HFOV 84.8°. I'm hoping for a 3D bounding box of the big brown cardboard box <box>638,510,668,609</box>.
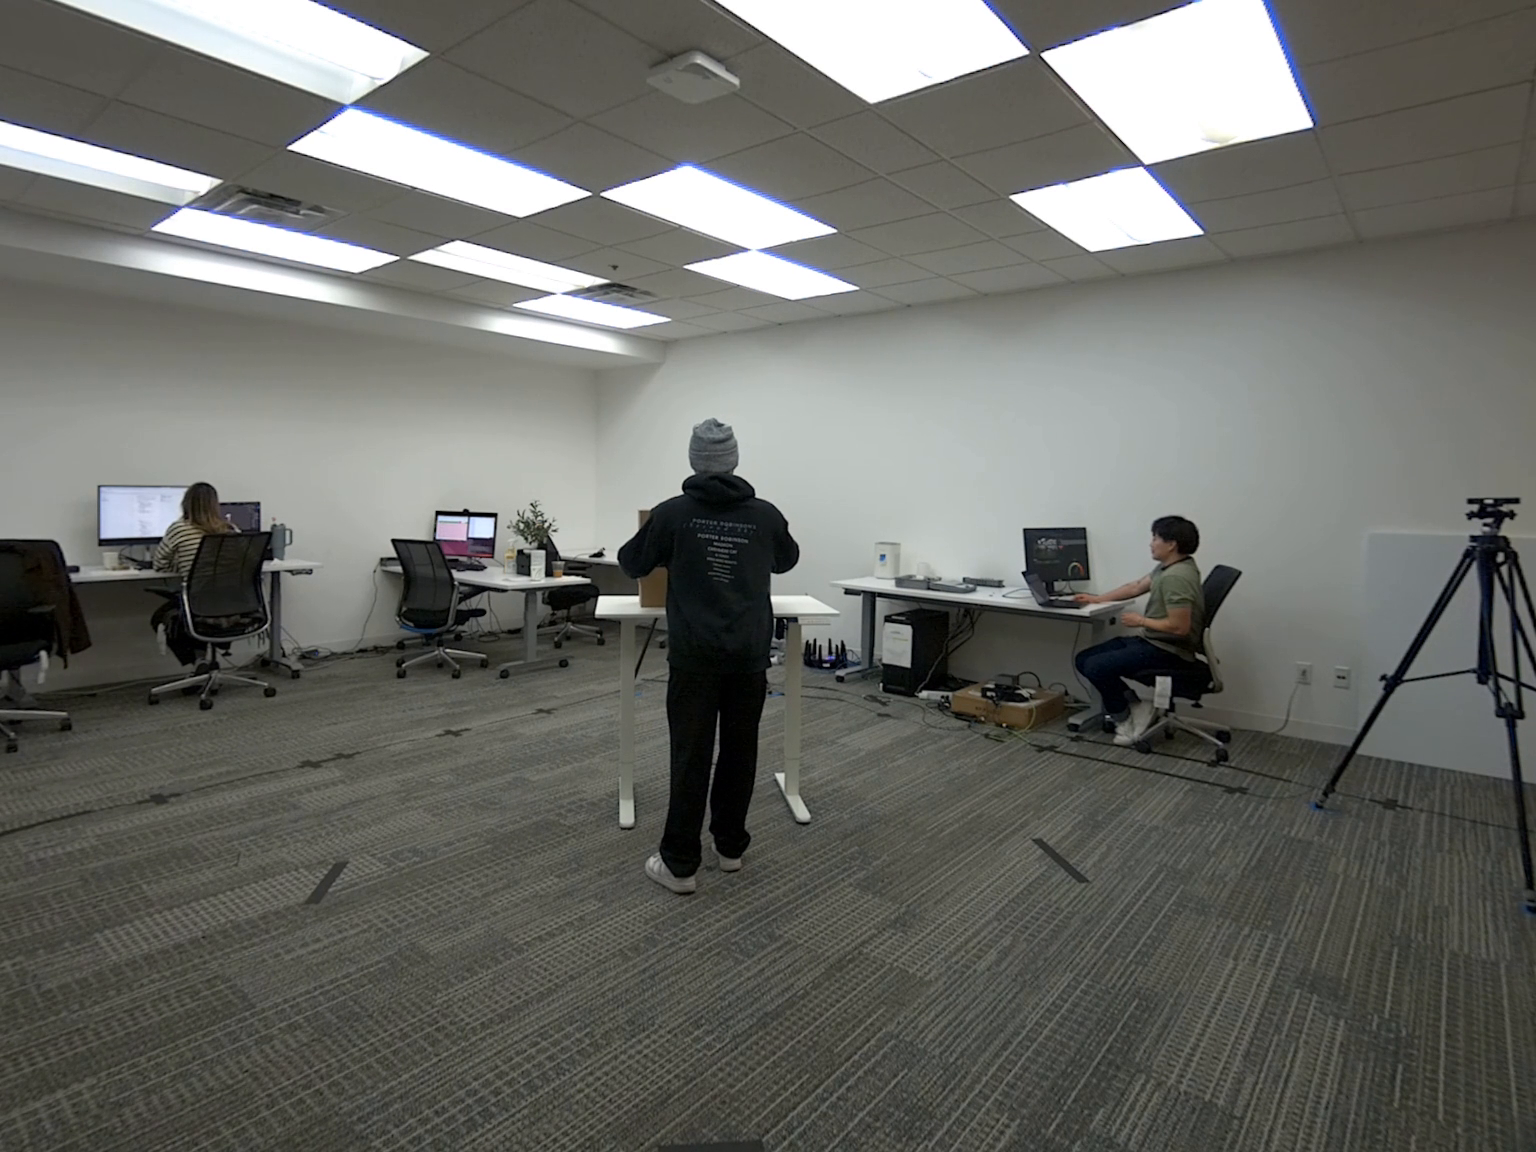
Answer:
[{"bbox_3d":[-0.286,-0.087,3.726,0.584,0.416,0.236,0,3,-8],"label":"big brown cardboard box"}]
